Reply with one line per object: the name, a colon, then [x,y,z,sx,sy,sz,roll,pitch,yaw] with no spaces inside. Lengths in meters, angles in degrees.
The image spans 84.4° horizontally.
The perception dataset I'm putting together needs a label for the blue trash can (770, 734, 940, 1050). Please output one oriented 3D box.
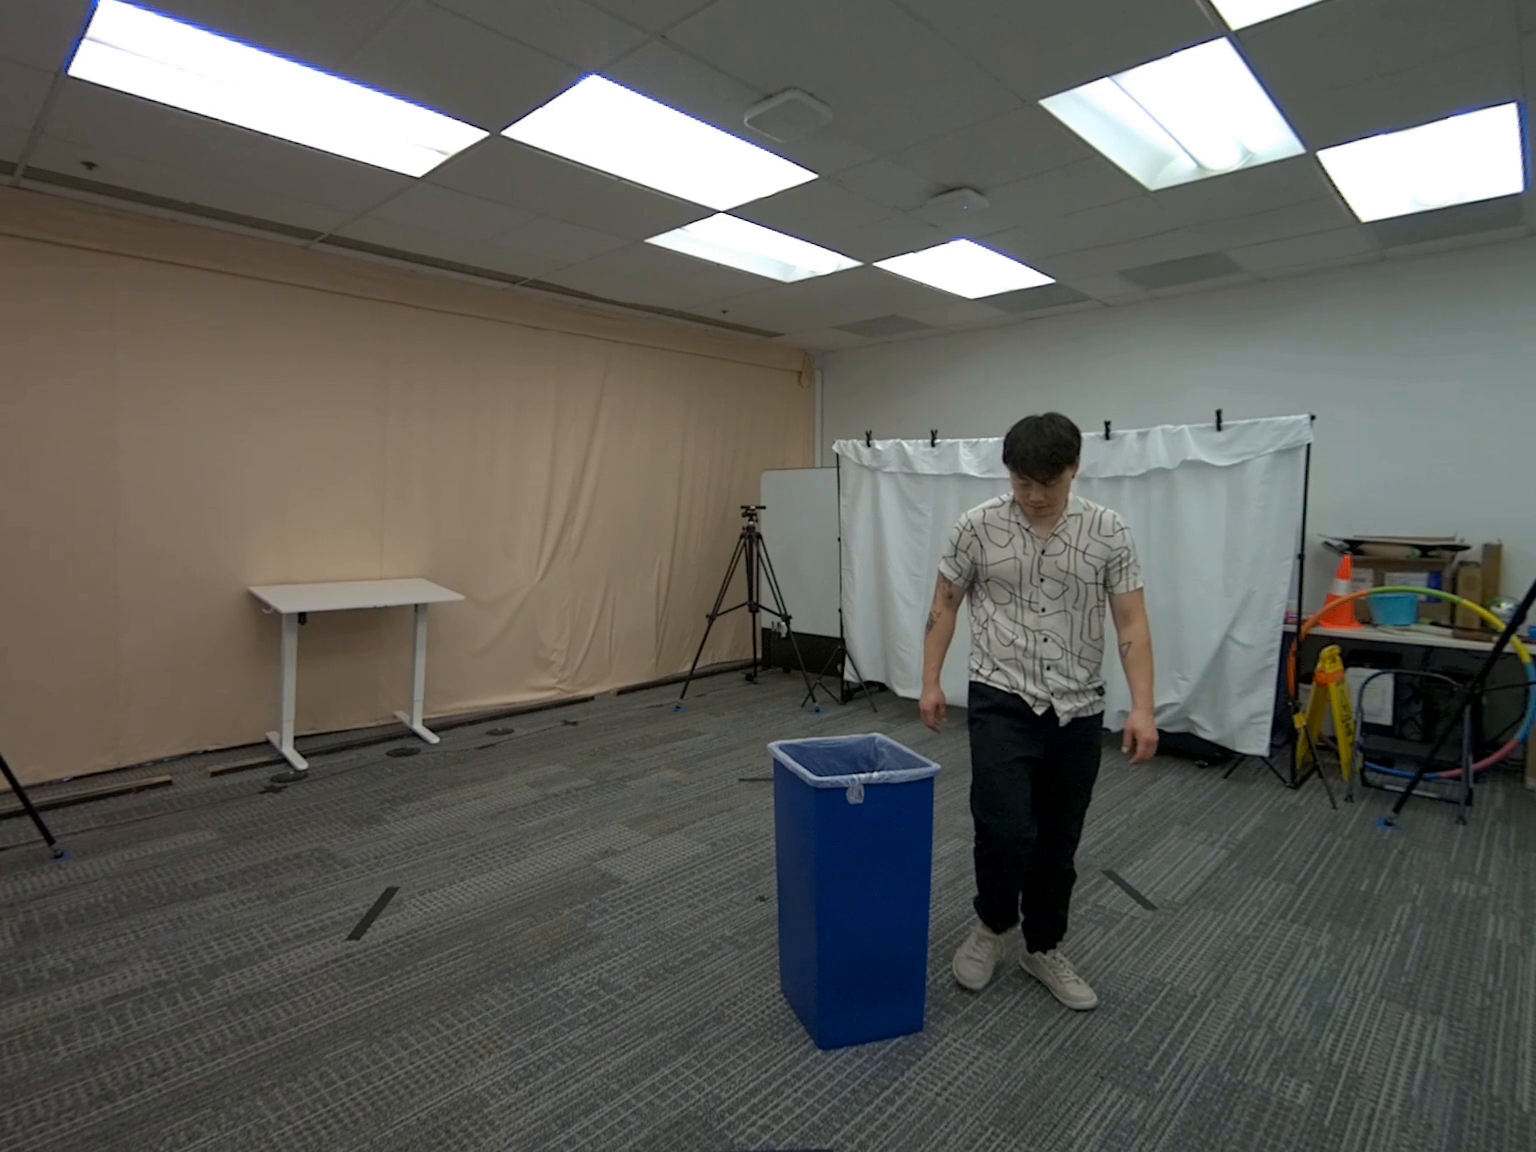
blue trash can: [0.228,0.843,2.319,0.371,0.712,0.382,0,3,-18]
